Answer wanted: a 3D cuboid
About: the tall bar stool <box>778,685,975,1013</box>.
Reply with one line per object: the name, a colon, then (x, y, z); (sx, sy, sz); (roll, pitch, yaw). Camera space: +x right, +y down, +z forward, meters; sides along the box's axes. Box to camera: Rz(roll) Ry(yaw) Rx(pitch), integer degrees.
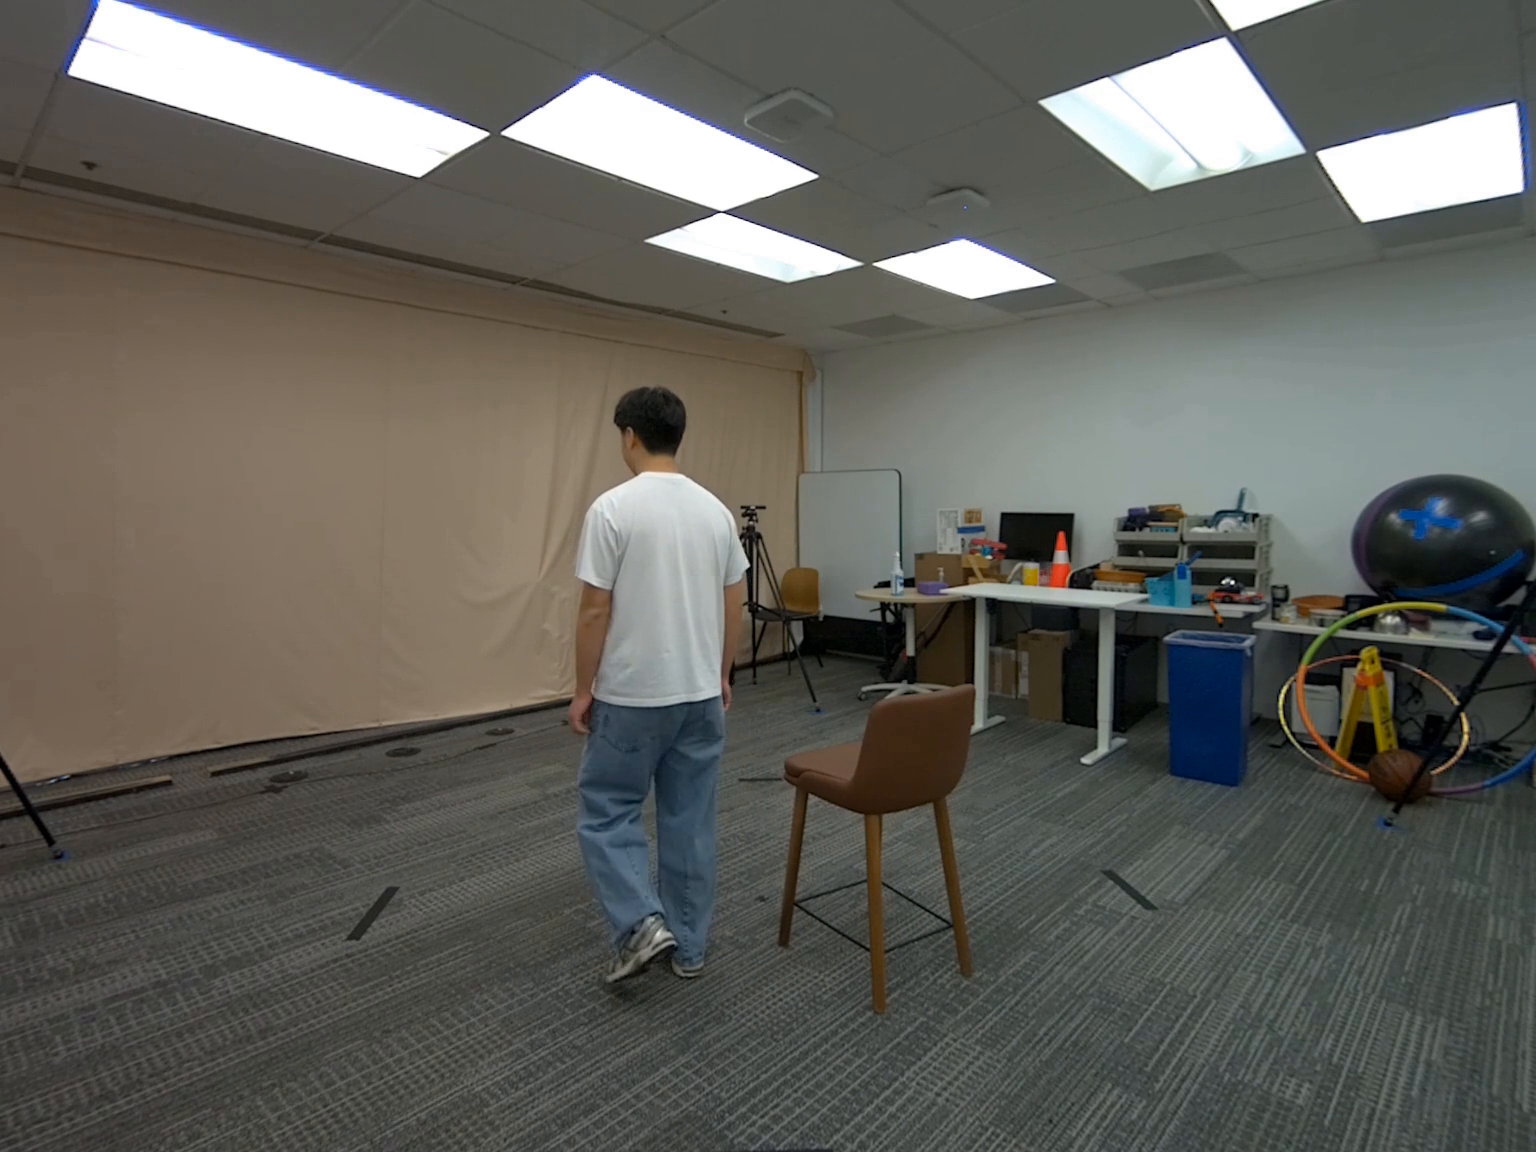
tall bar stool: (0.336, 0.742, 2.562); (0.443, 0.887, 0.482); (-2, 6, -34)
